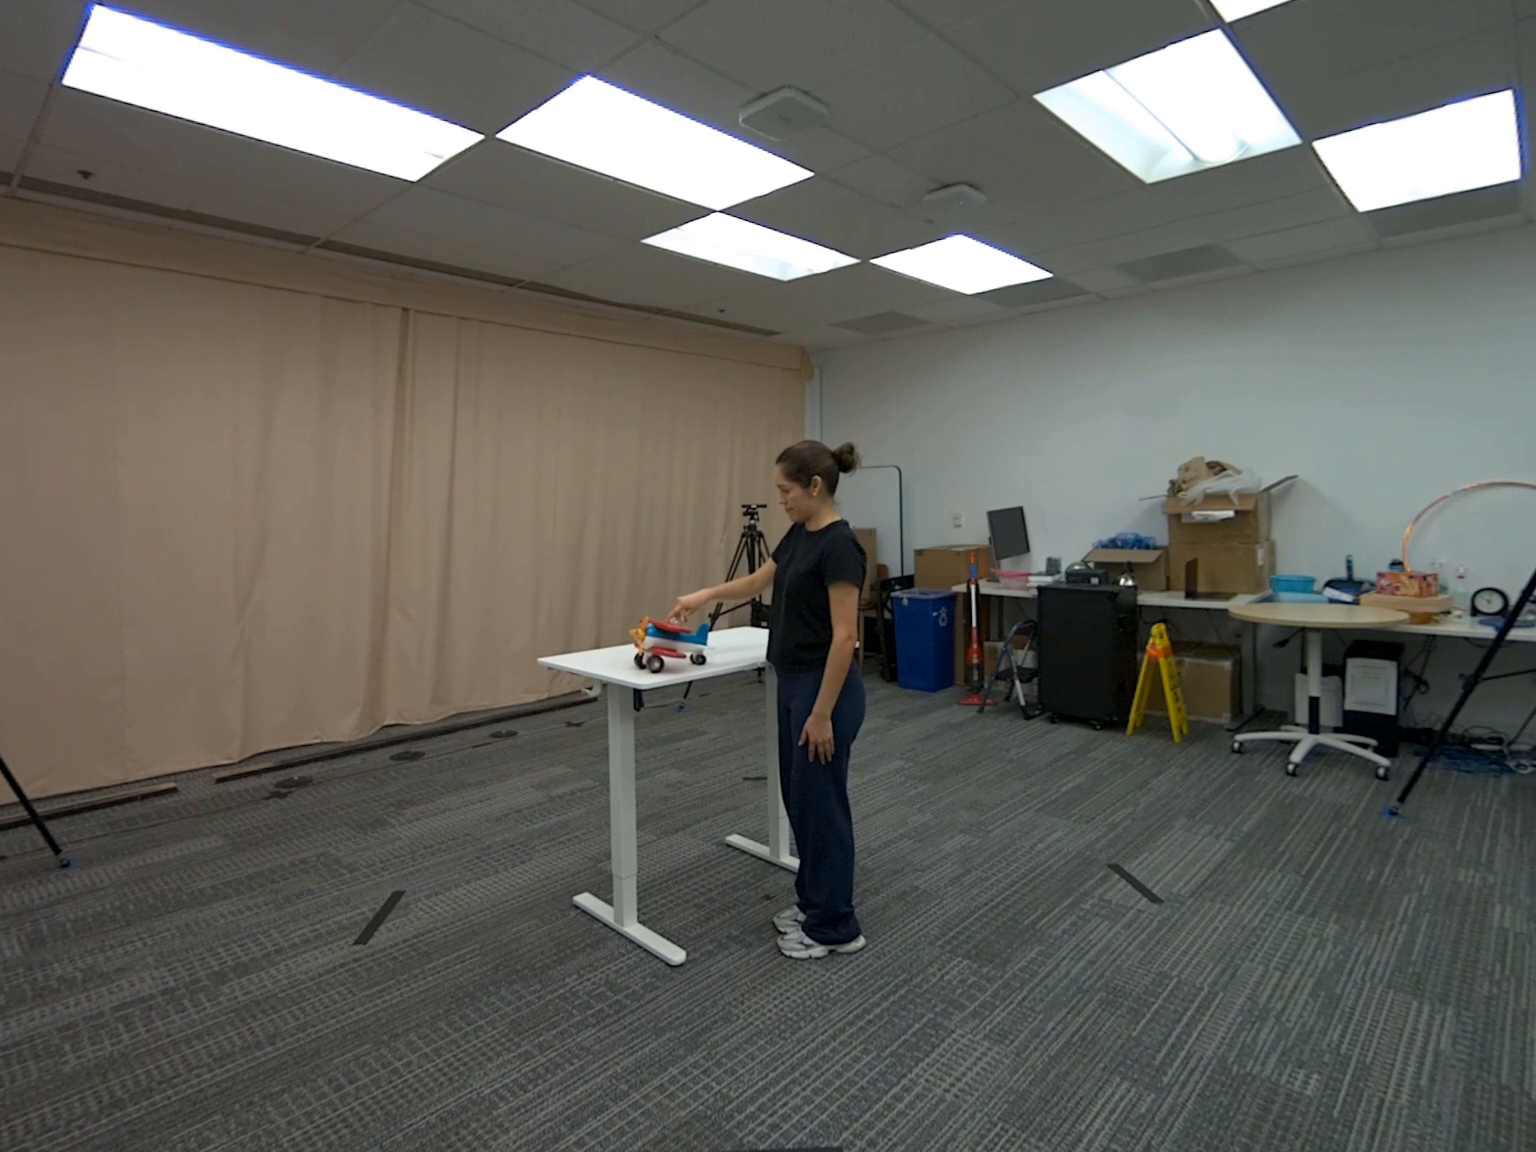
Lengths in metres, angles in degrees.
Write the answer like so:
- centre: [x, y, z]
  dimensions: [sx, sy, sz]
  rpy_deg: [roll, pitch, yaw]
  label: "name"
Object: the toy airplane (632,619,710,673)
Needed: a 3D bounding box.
- centre: [-0.298, 0.217, 2.676]
  dimensions: [0.258, 0.156, 0.253]
  rpy_deg: [1, 5, 28]
  label: "toy airplane"
